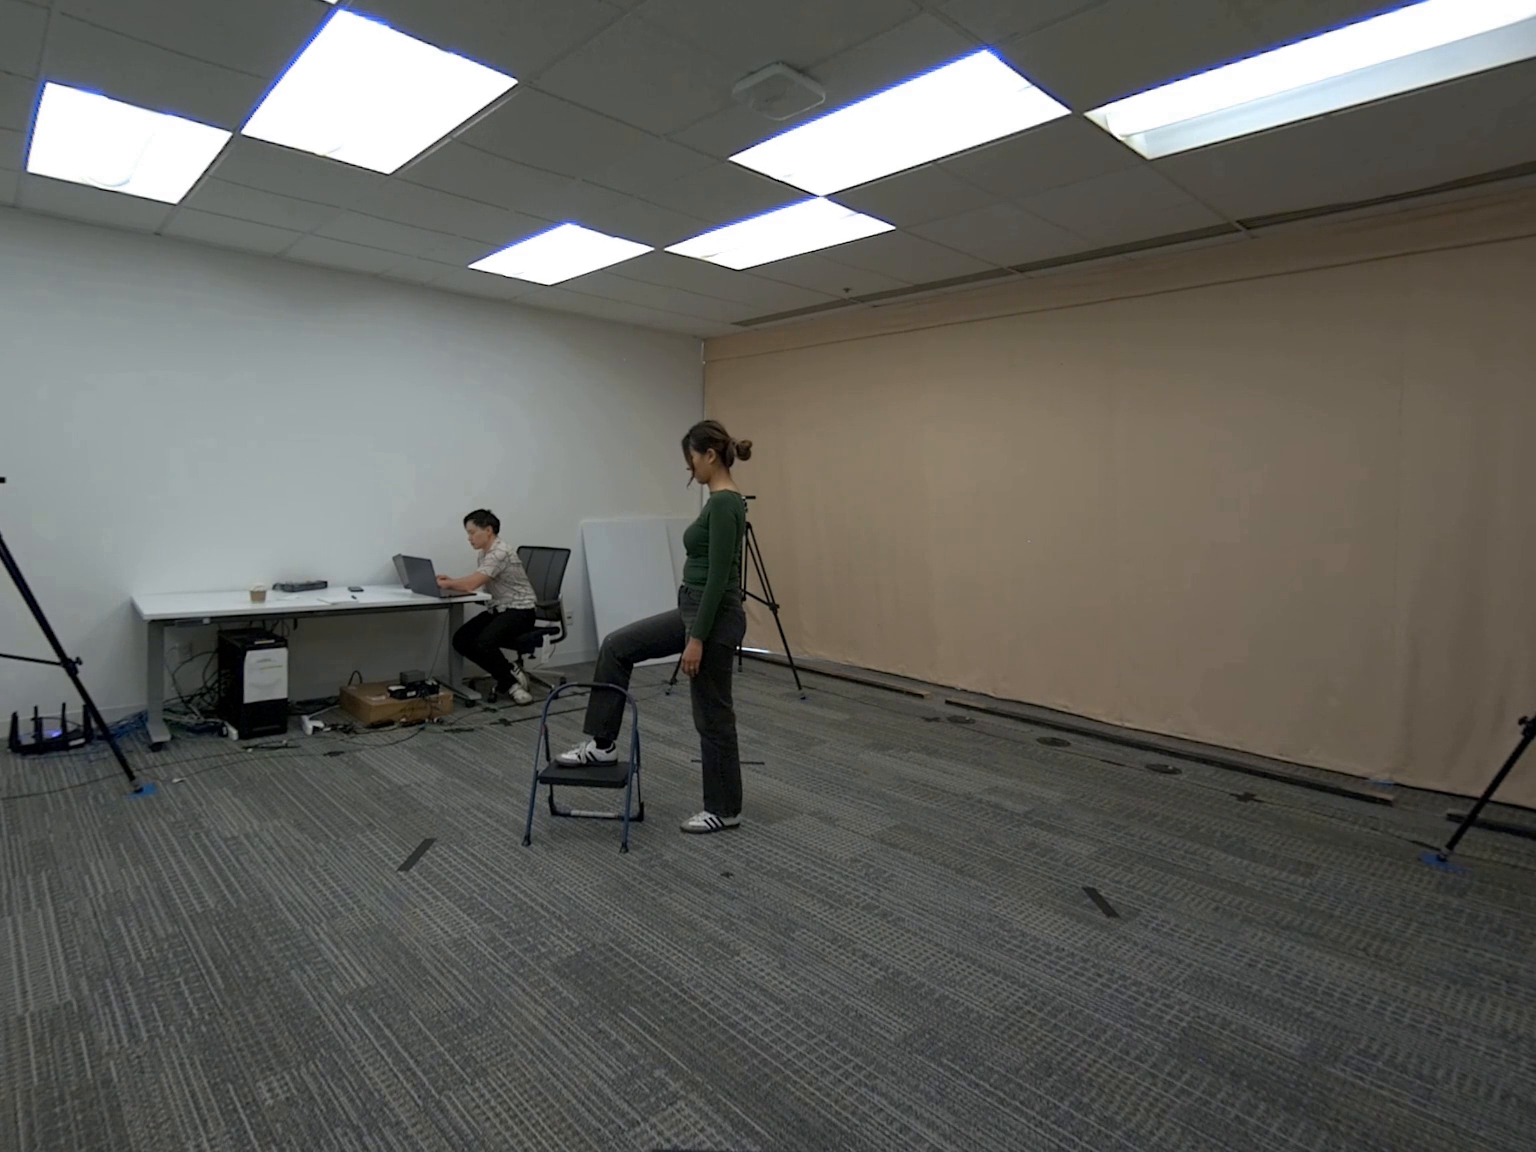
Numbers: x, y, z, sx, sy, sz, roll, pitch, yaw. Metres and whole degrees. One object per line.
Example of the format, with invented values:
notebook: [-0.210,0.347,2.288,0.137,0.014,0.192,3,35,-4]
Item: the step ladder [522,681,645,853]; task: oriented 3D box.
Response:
step ladder: [-0.749,0.760,3.446,0.433,0.604,0.349,1,4,5]
